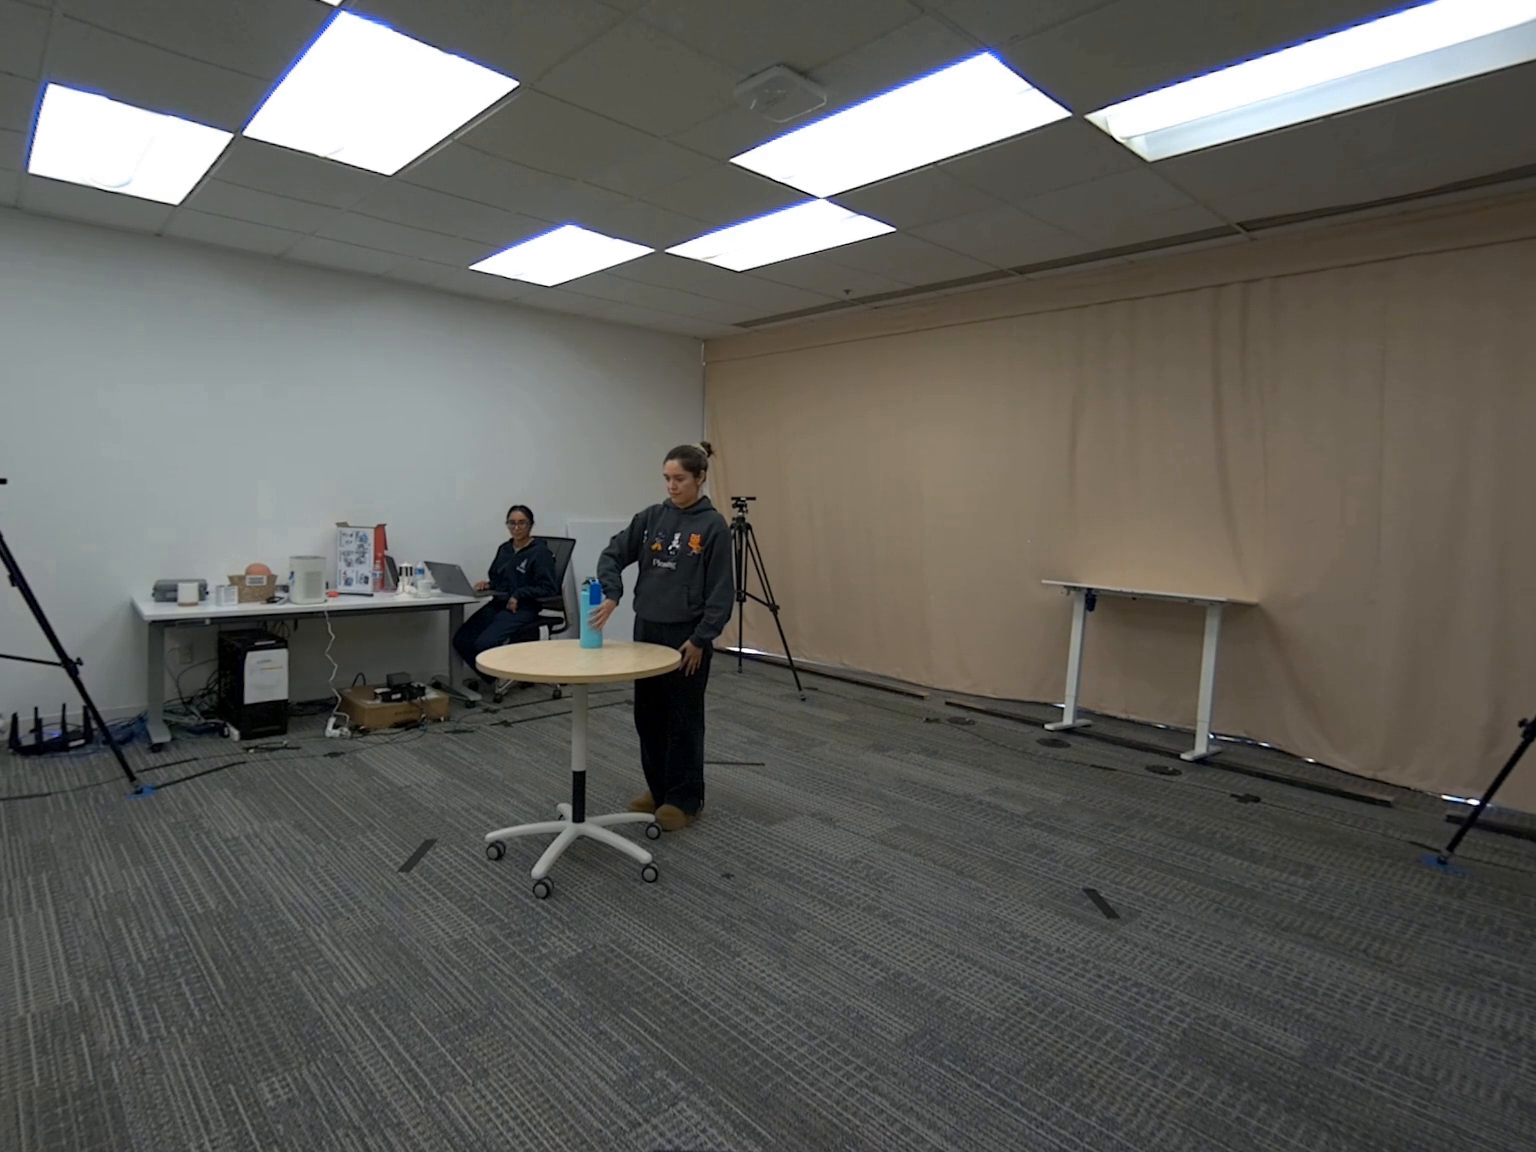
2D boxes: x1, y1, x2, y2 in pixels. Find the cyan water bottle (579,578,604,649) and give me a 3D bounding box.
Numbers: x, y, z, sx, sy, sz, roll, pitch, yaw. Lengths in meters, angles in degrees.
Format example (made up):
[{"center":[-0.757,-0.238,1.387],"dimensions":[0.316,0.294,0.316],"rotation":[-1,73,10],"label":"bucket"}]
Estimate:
[{"center":[-0.724,0.148,3.403],"dimensions":[0.092,0.283,0.092],"rotation":[2,2,-1],"label":"cyan water bottle"}]
